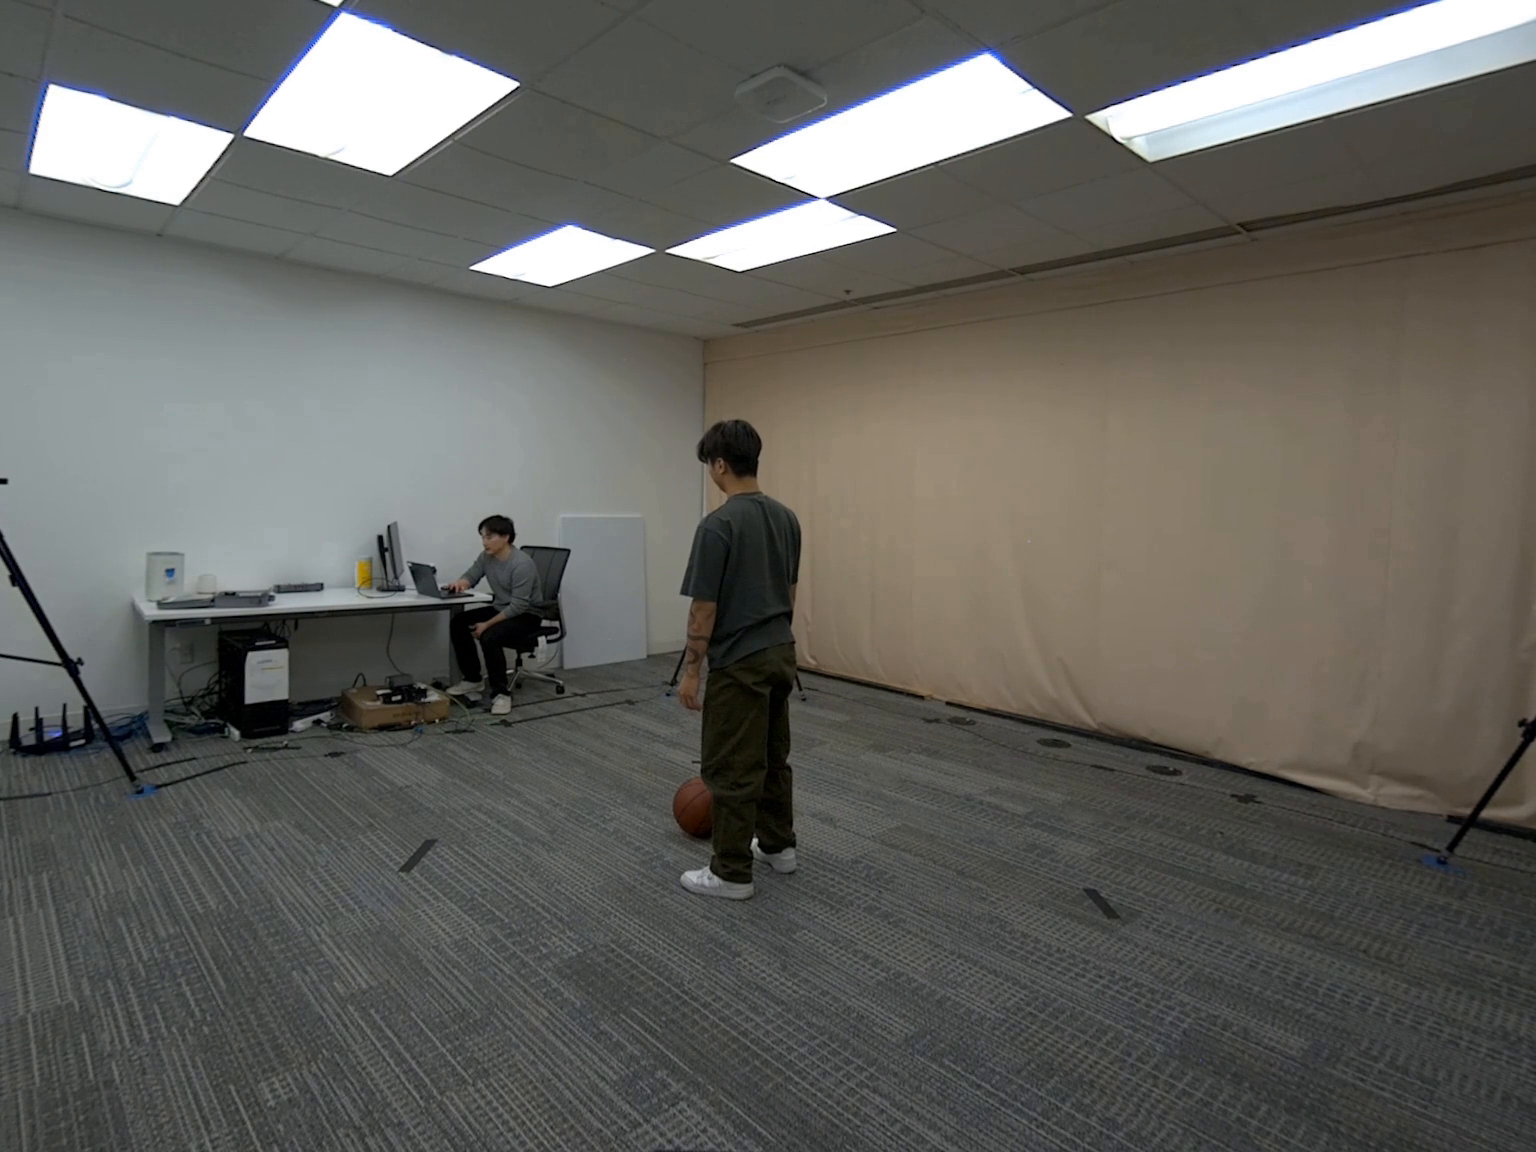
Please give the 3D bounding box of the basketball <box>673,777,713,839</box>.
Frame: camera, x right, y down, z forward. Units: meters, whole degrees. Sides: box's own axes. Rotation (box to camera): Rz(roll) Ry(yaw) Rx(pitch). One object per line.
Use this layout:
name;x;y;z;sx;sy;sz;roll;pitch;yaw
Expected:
basketball;-0.281;0.945;3.475;0.236;0.235;0.237;1;4;-1
